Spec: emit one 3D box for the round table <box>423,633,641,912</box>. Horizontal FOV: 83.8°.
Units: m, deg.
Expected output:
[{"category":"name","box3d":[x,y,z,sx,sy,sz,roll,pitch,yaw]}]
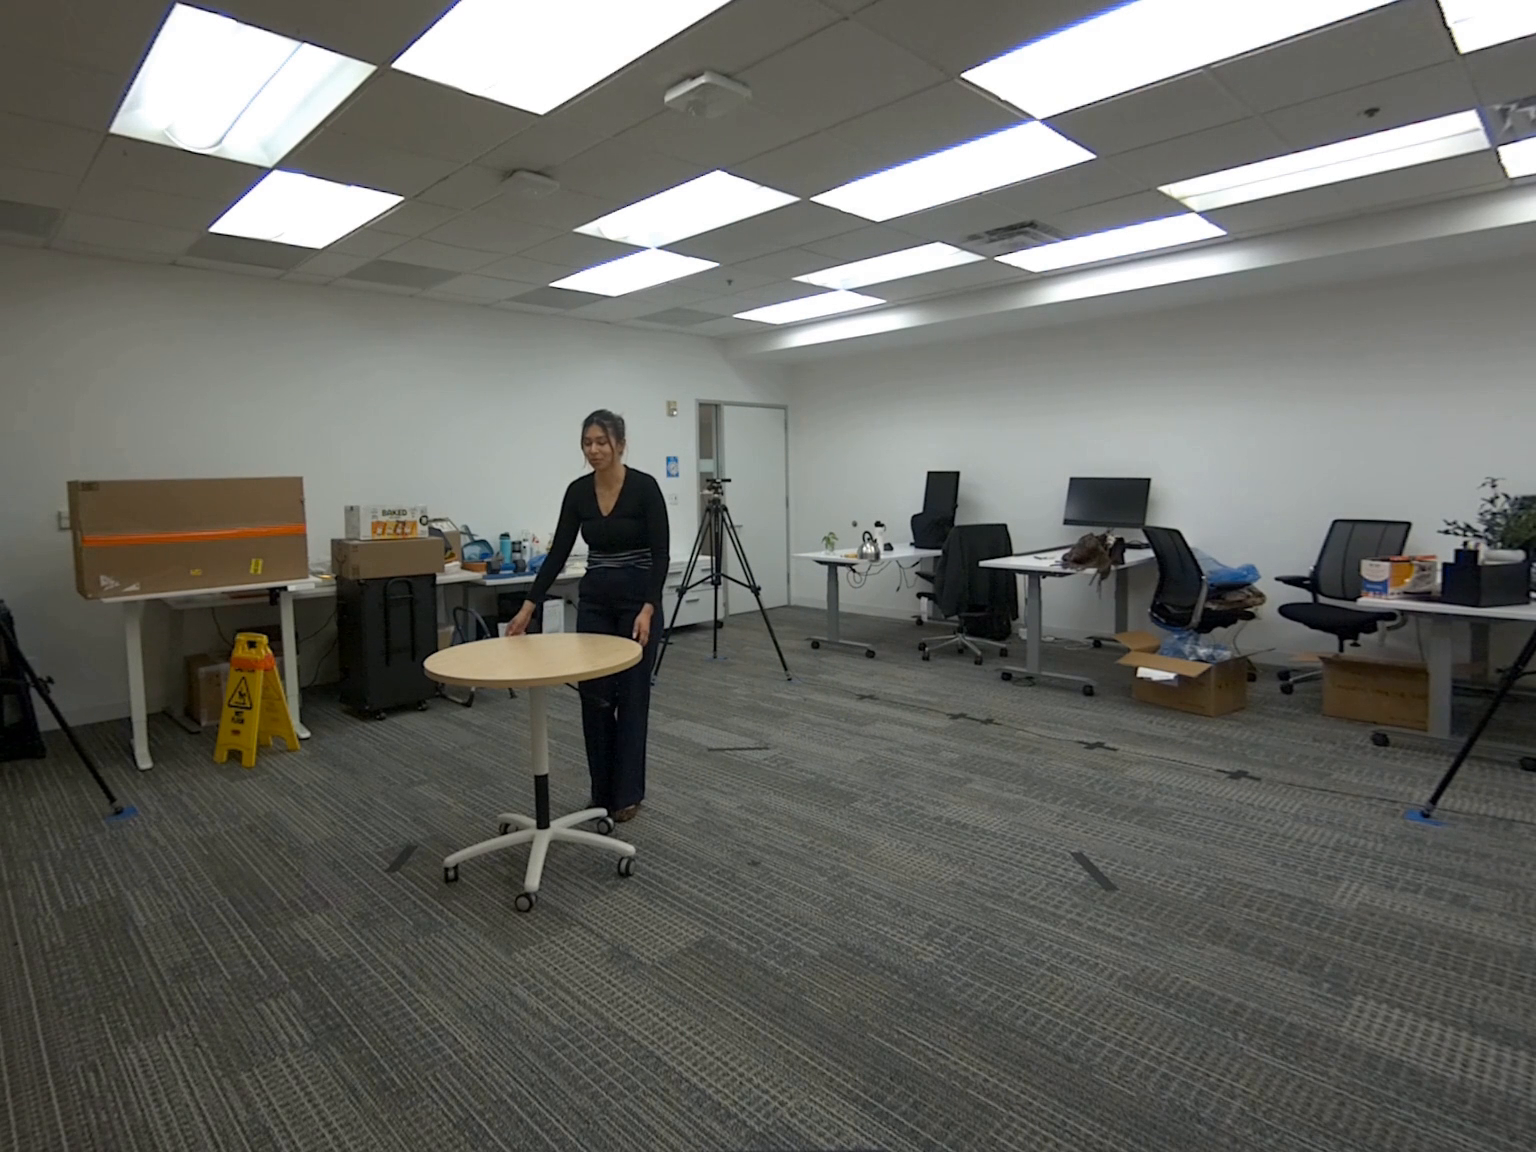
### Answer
[{"category":"round table","box3d":[-0.822,0.671,3.107,0.763,0.791,0.768,-2,5,-2]}]
